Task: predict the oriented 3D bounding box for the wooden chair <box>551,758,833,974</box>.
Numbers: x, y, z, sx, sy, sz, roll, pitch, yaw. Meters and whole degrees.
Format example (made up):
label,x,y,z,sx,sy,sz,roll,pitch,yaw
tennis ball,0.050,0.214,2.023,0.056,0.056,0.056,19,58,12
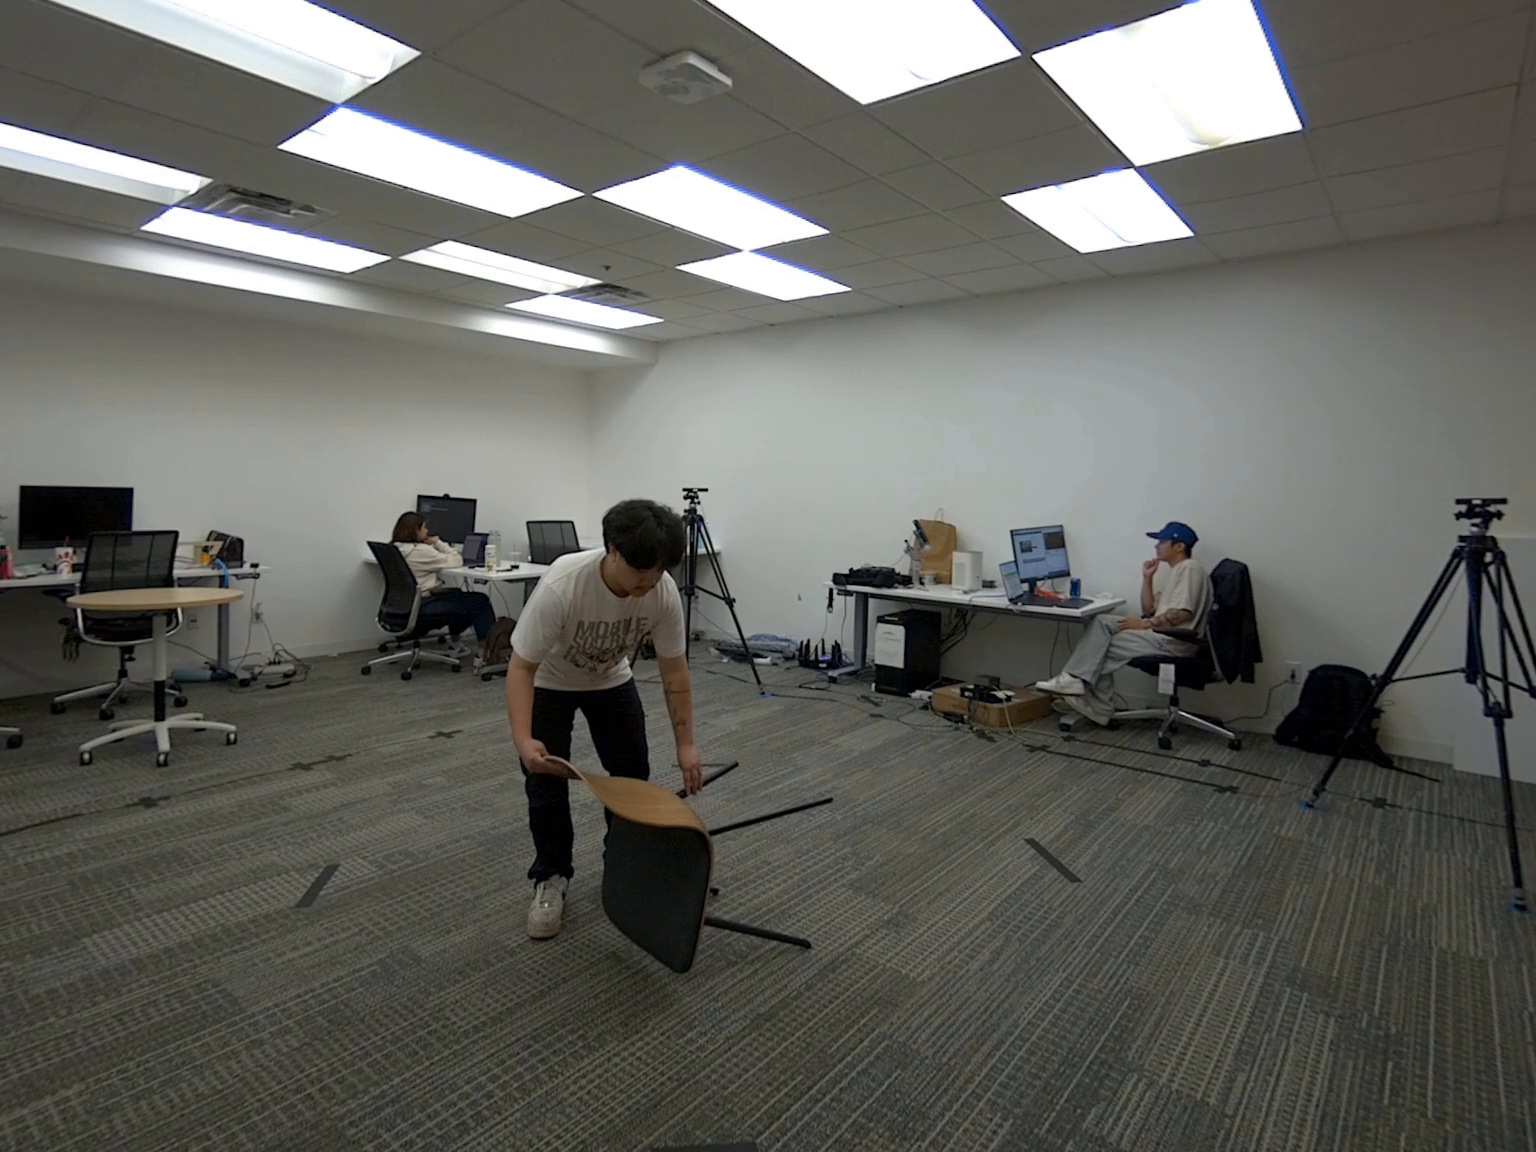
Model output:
label,x,y,z,sx,sy,sz,roll,pitch,yaw
wooden chair,-0.298,0.833,2.495,0.844,0.525,0.495,17,-7,-42
